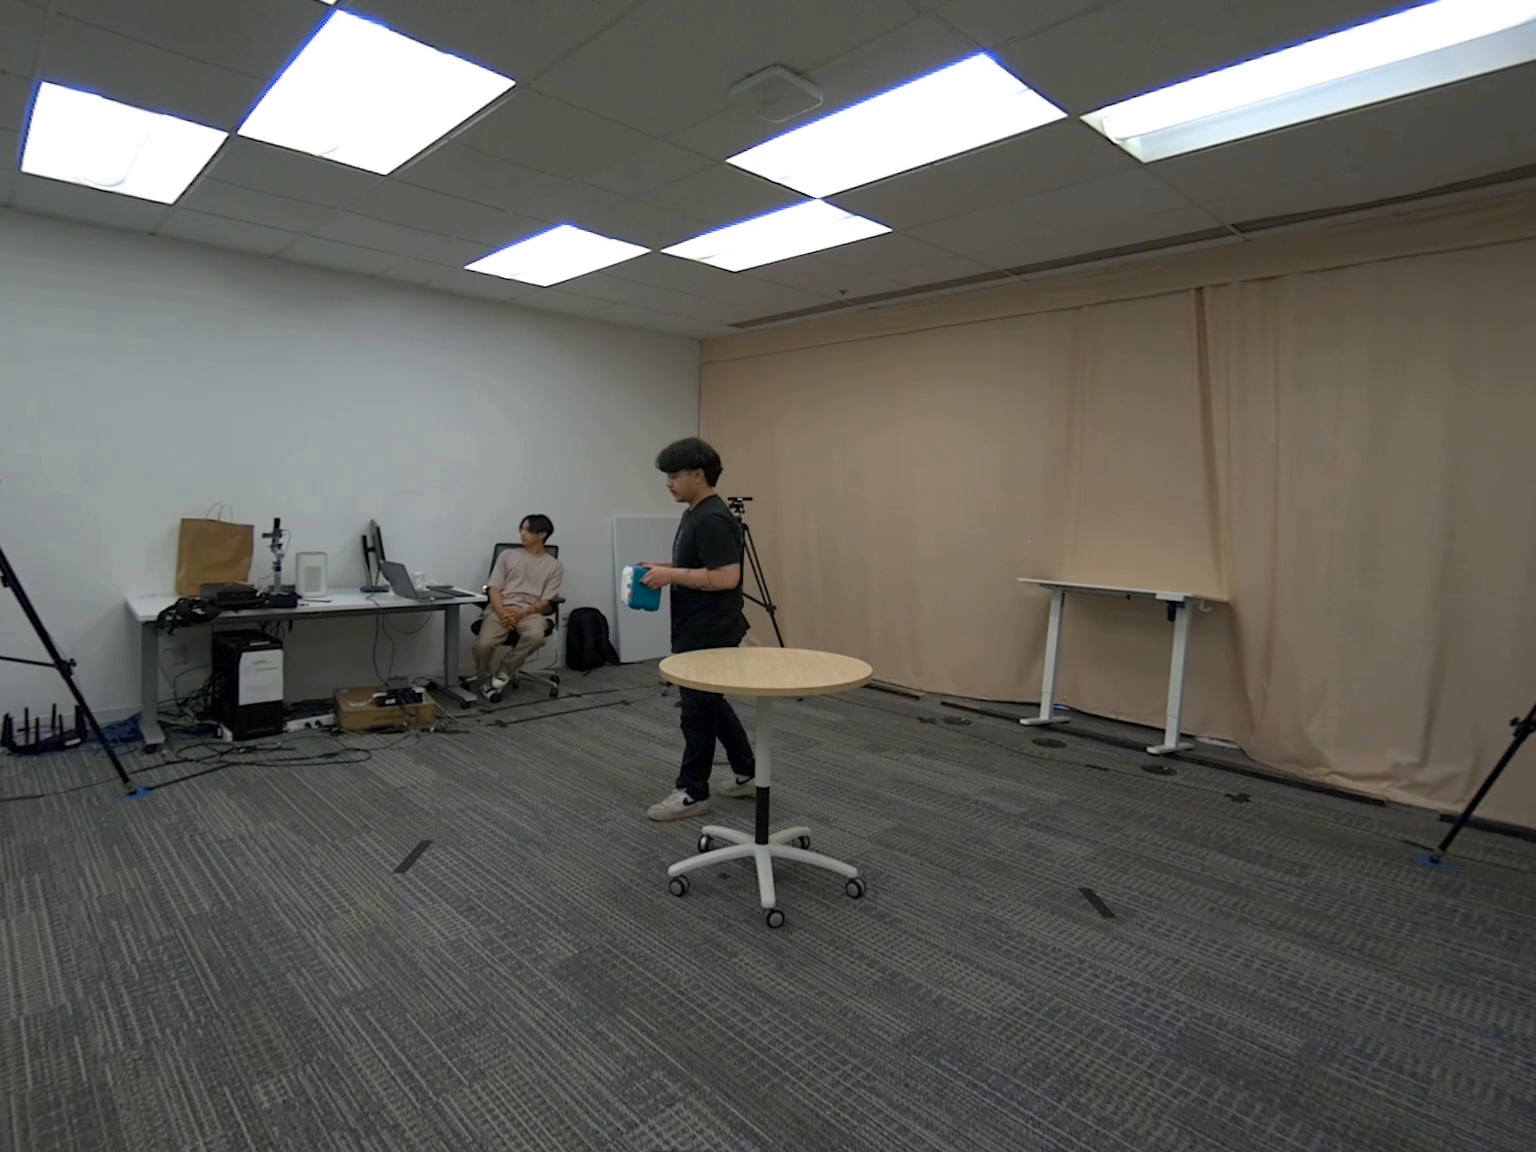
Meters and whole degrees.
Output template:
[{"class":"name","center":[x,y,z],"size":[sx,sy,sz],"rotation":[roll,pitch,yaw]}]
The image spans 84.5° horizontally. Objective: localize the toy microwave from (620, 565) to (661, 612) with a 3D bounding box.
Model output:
[{"class":"toy microwave","center":[-0.561,0.046,3.673],"size":[0.150,0.184,0.290],"rotation":[8,1,-16]}]
